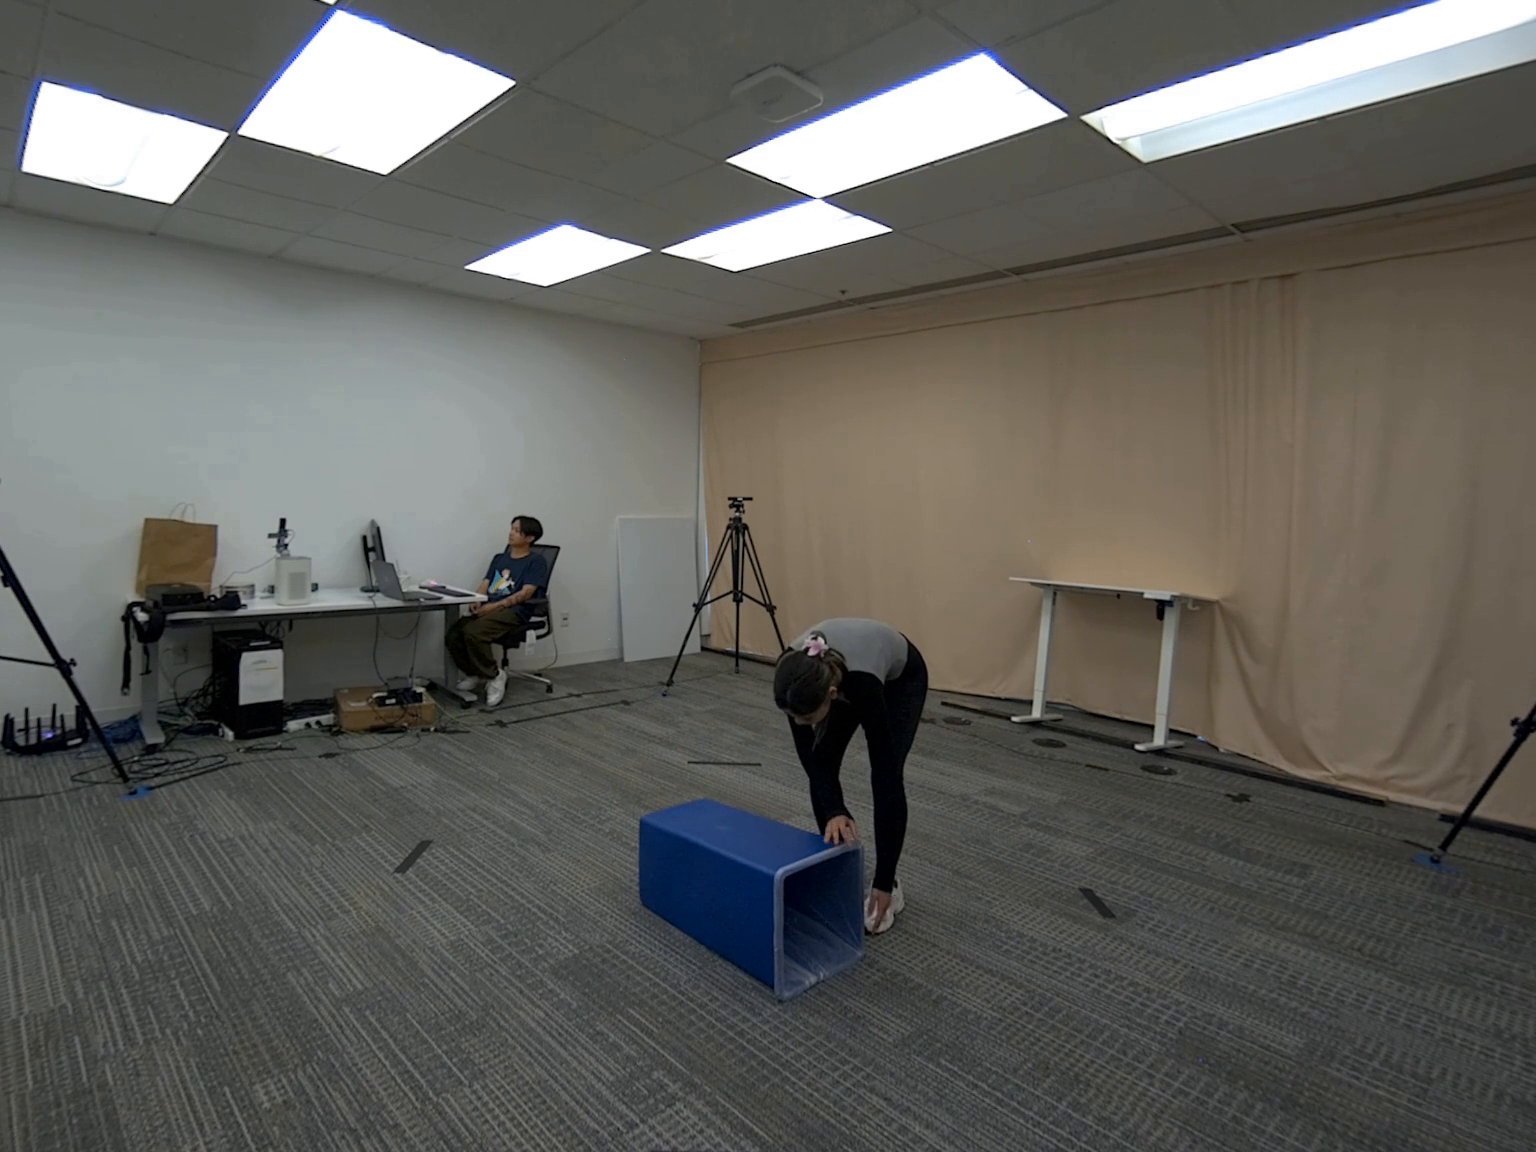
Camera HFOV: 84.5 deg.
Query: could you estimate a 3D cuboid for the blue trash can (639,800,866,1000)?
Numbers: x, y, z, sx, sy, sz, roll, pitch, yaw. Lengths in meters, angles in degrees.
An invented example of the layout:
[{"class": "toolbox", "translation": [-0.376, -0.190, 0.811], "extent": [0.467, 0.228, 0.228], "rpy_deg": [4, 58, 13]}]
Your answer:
[{"class": "blue trash can", "translation": [-0.097, 0.974, 2.693], "extent": [0.369, 0.373, 0.731], "rpy_deg": [-4, 5, -43]}]
